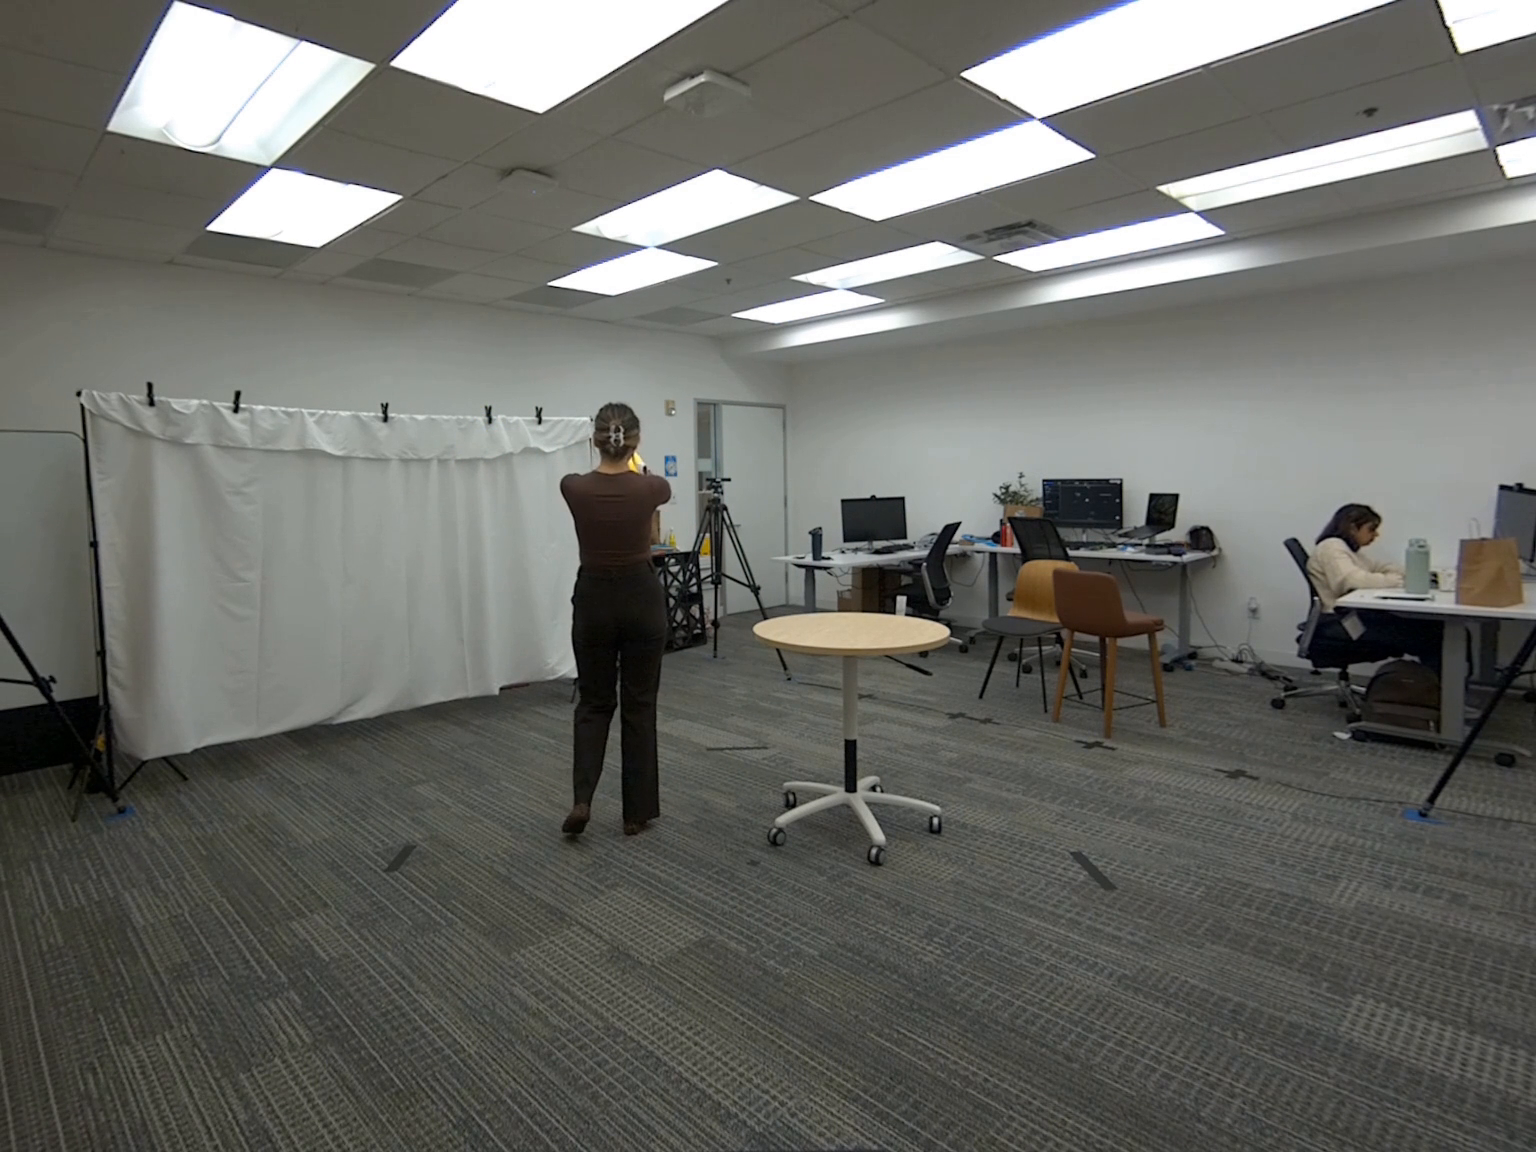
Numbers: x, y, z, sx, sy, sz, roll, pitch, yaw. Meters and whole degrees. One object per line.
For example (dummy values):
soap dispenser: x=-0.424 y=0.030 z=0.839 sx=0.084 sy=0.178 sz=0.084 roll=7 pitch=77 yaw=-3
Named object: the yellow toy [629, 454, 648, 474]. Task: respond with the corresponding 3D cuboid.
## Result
yellow toy: x=-0.624 y=-0.468 z=3.934 sx=0.204 sy=0.228 sz=0.196 roll=-3 pitch=10 yaw=-6
